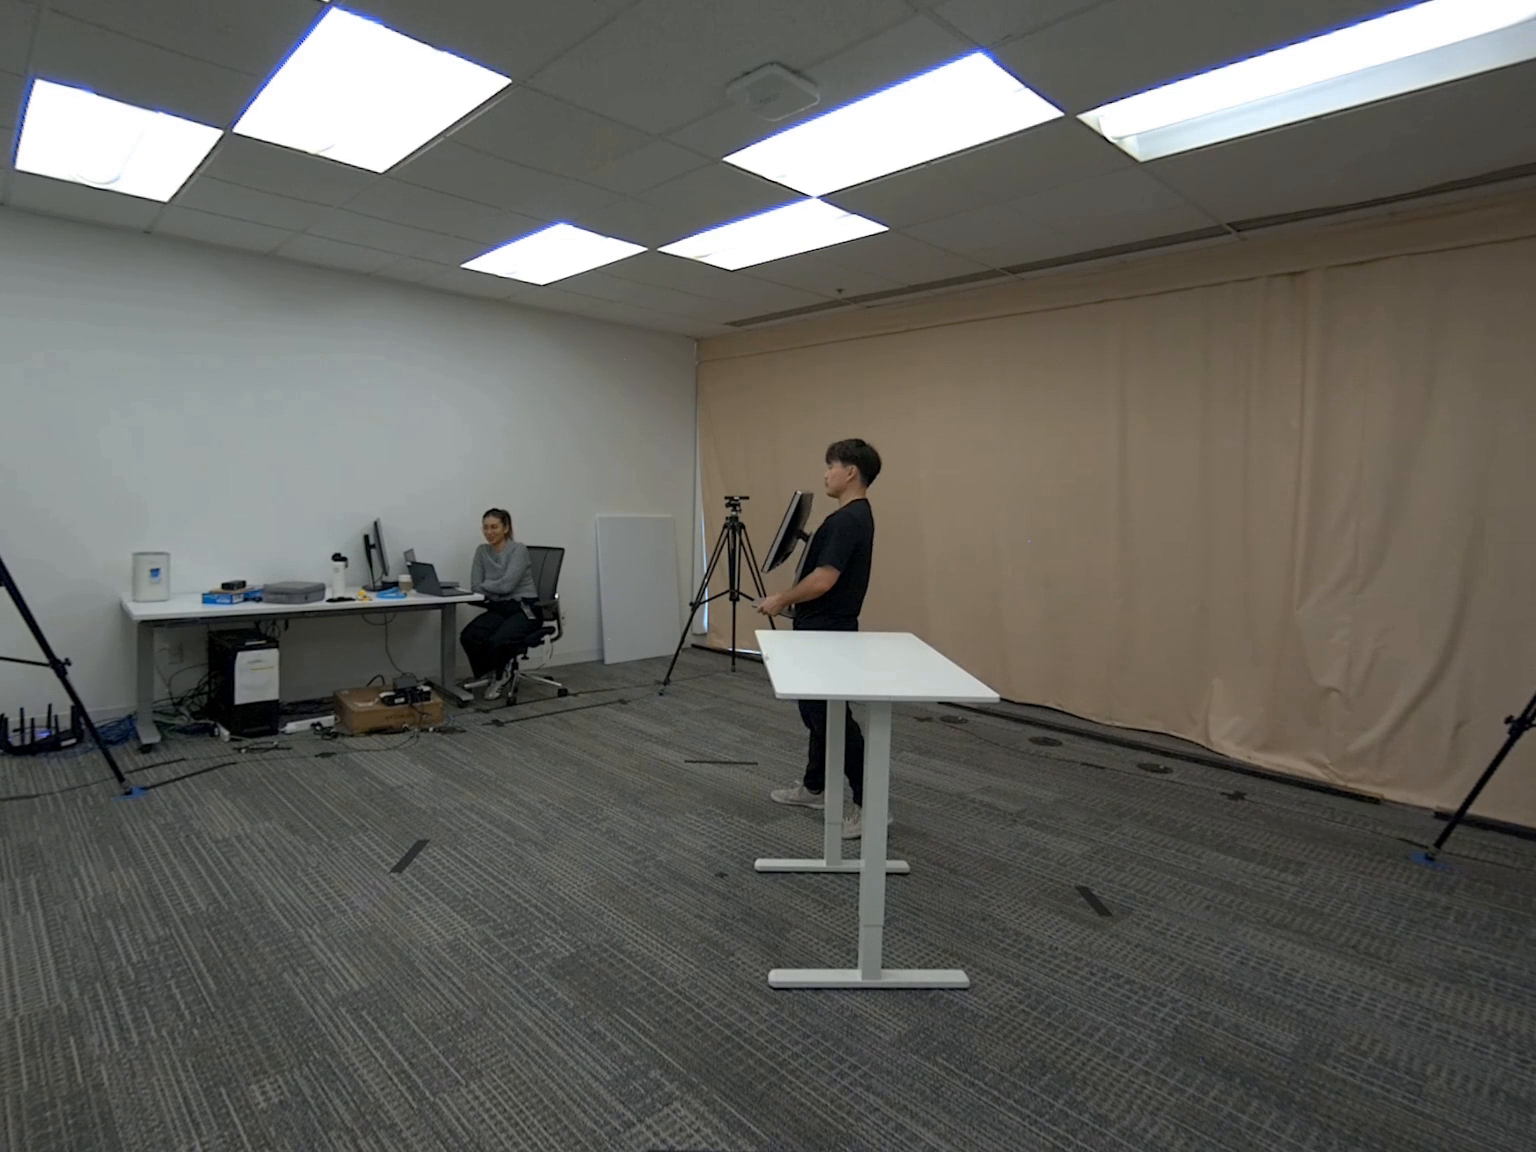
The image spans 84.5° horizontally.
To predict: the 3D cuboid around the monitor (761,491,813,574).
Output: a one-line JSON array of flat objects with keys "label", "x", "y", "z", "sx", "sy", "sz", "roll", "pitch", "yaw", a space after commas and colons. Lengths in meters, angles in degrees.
[{"label": "monitor", "x": 0.095, "y": -0.107, "z": 3.686, "sx": 0.188, "sy": 0.521, "sz": 0.537, "roll": 13, "pitch": 6, "yaw": 6}]
